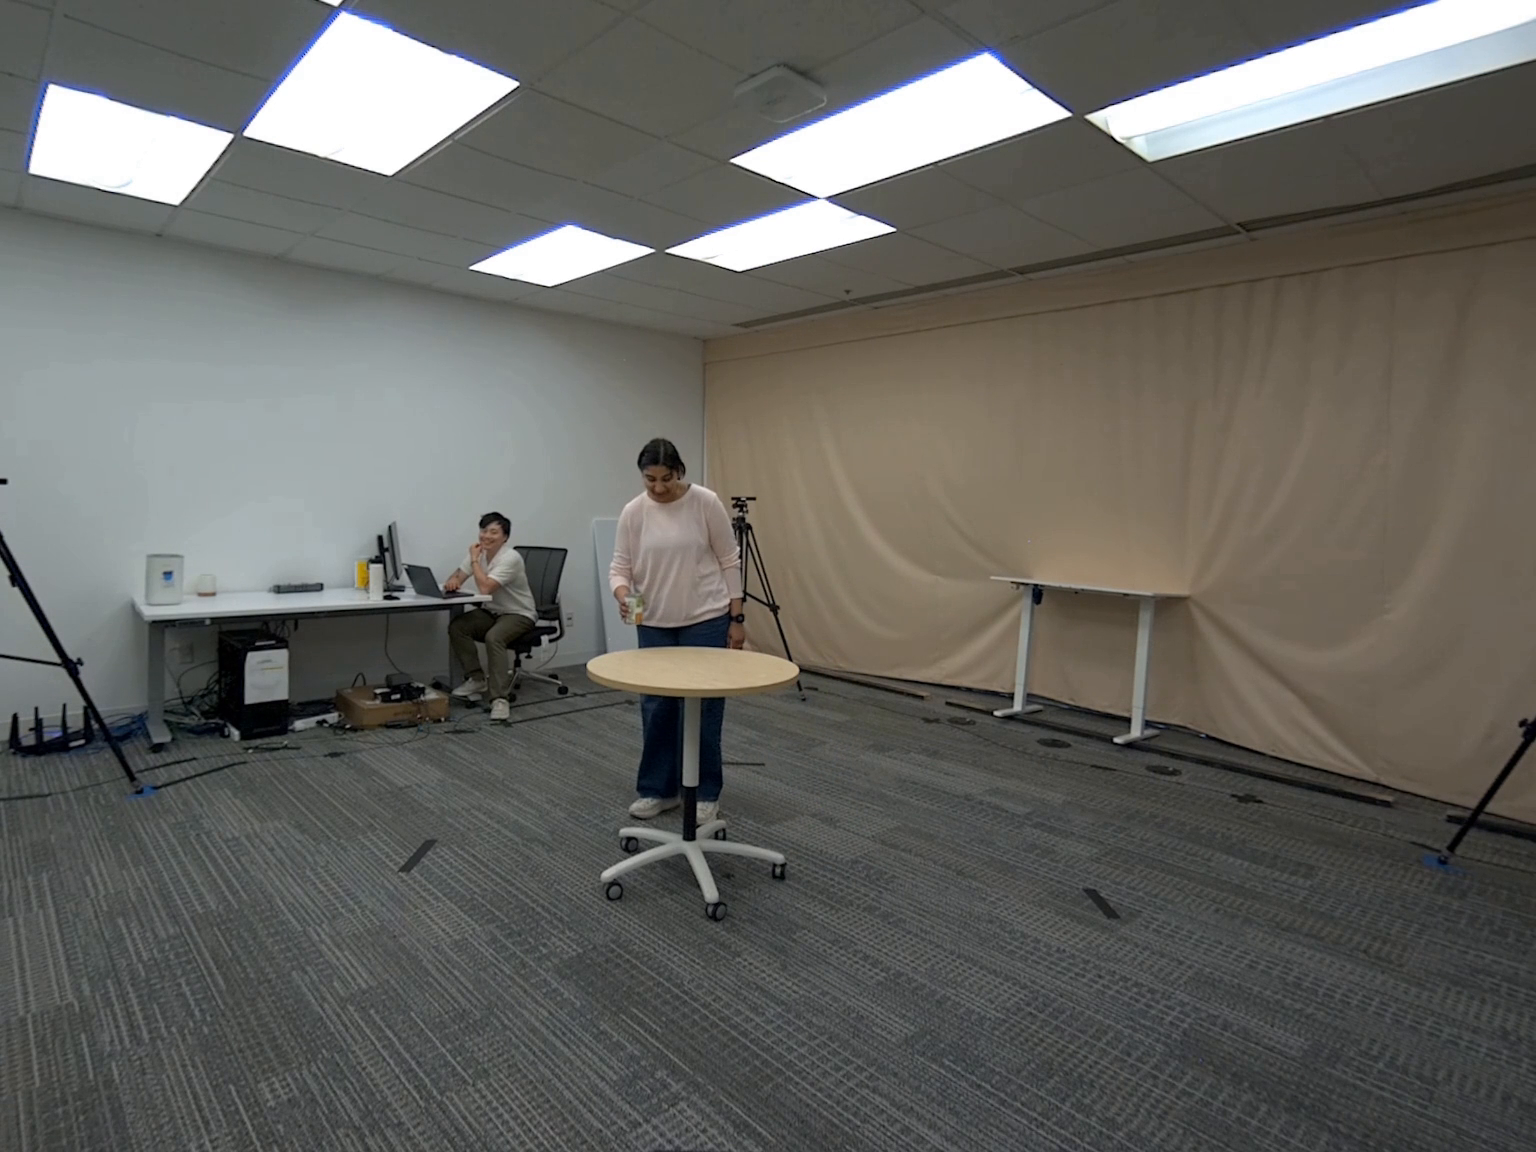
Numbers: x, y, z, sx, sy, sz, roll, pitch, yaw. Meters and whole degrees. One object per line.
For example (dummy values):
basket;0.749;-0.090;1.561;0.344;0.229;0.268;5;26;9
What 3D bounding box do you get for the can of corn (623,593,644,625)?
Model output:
can of corn;-0.557;0.130;3.333;0.074;0.110;0.074;3;7;-2
